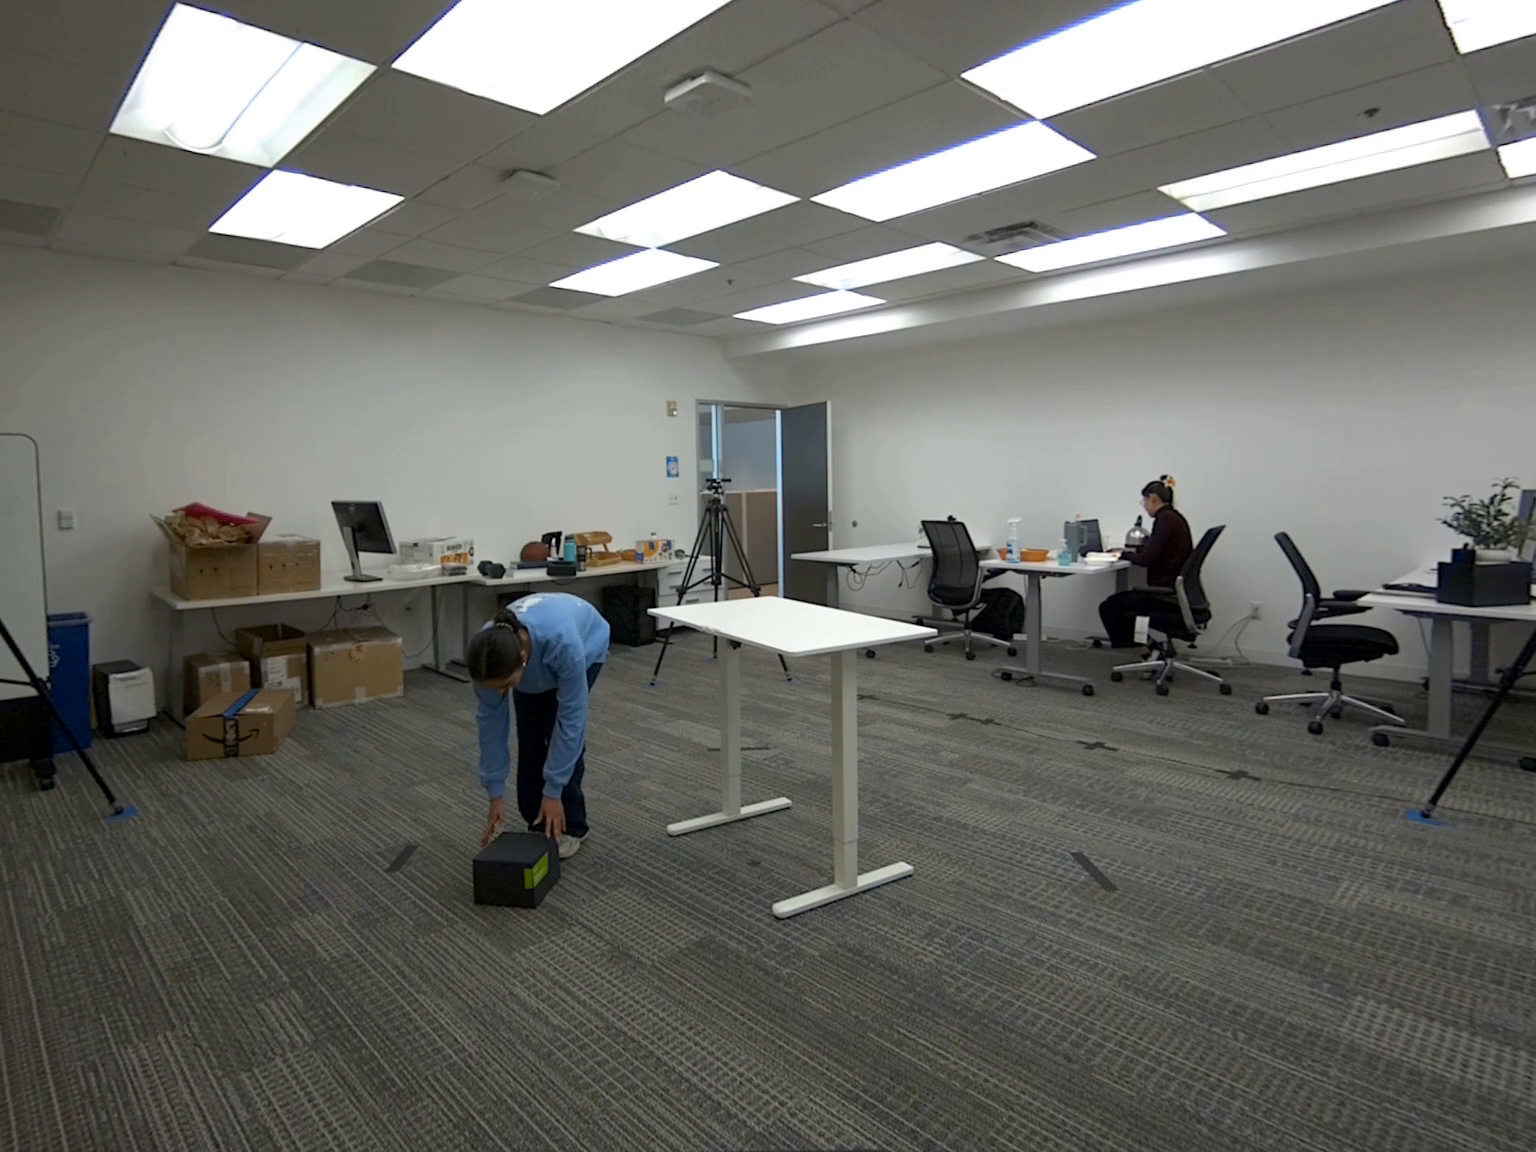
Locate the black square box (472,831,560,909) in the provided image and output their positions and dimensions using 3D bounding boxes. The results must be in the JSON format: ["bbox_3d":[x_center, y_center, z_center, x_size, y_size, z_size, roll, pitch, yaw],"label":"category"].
[{"bbox_3d":[-0.862,1.005,2.924,0.219,0.155,0.226,-1,6,10],"label":"black square box"}]
